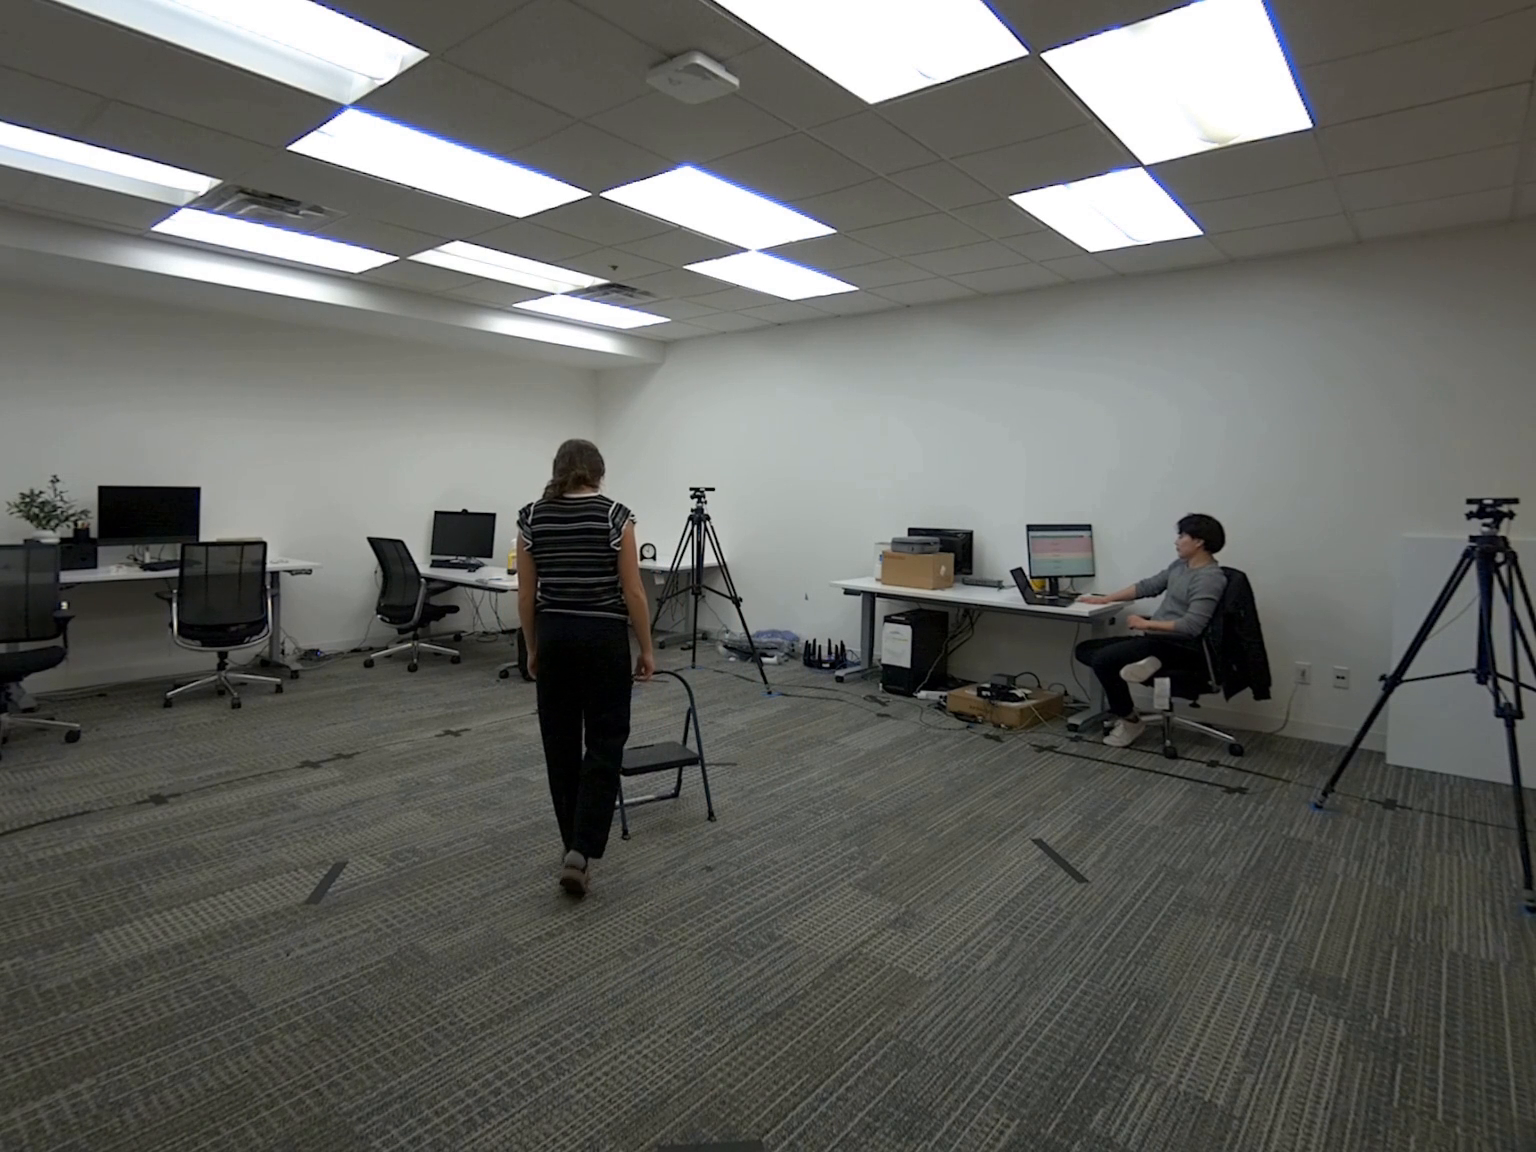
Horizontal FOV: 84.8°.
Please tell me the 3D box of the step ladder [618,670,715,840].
[{"bbox_3d":[-0.492,0.713,3.593,0.419,0.605,0.360,-1,3,-33],"label":"step ladder"}]
